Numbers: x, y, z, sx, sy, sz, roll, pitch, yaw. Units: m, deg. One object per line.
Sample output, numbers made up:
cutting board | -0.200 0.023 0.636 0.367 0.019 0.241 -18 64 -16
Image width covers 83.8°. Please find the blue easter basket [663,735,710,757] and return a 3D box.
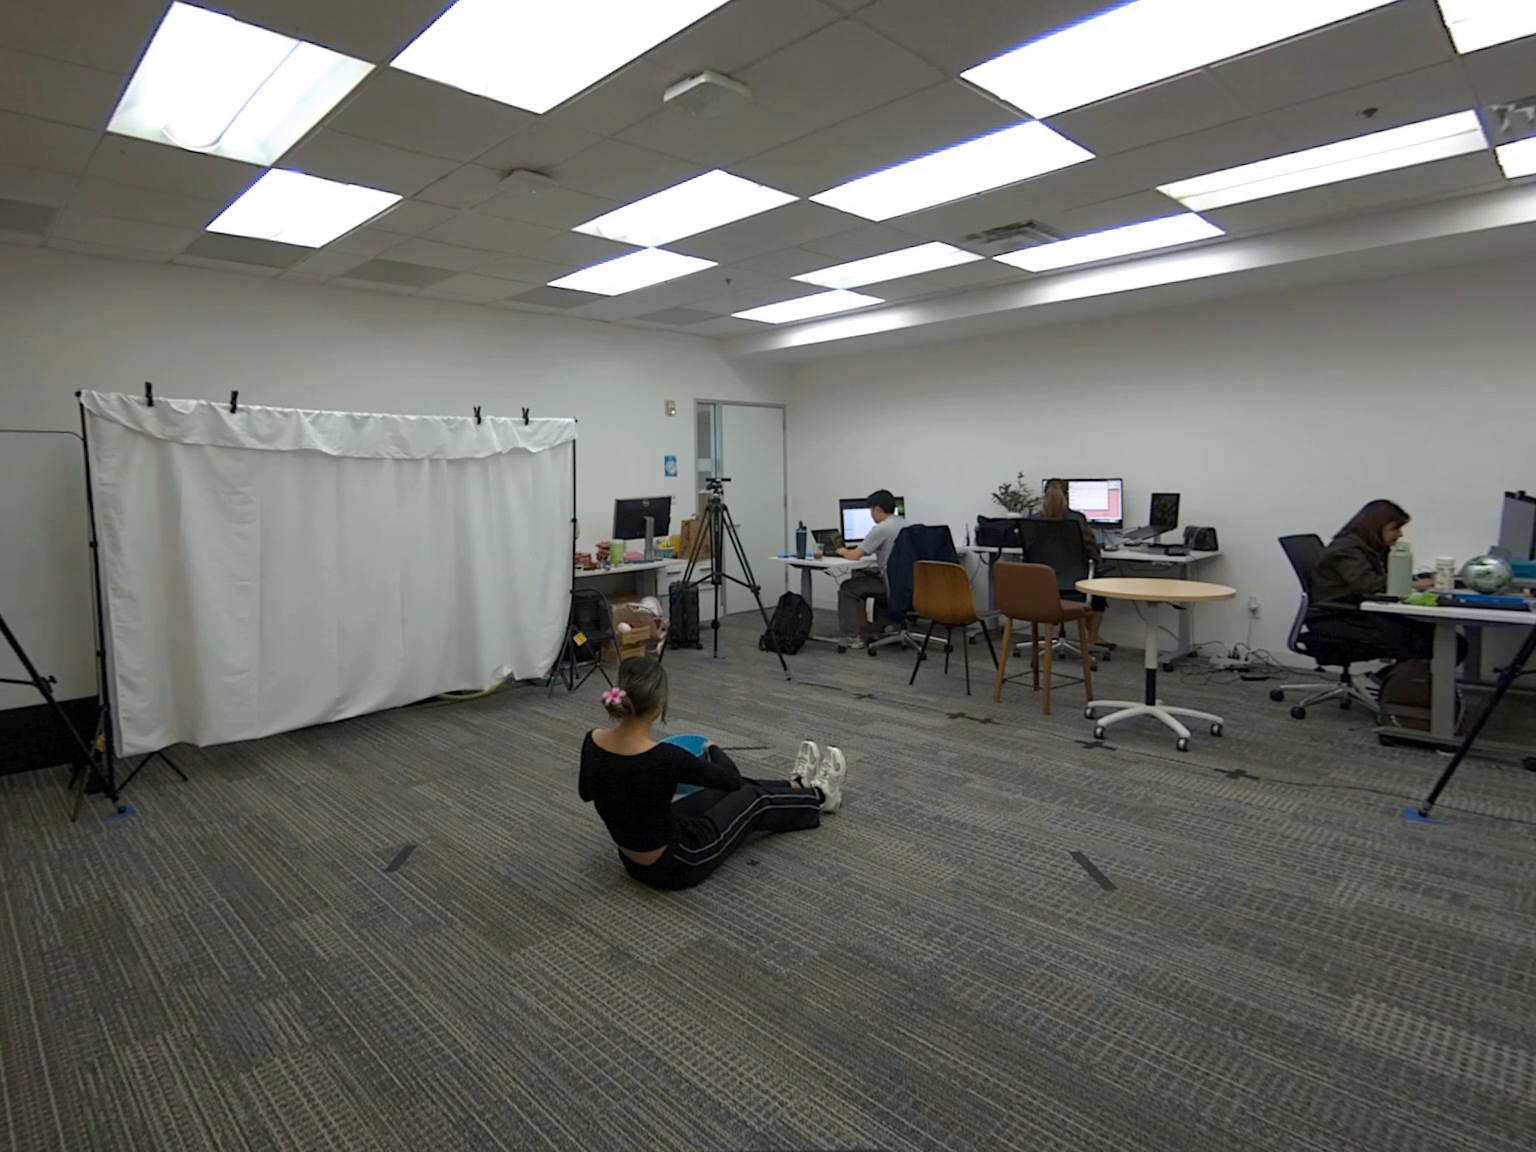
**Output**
blue easter basket | -0.326 0.738 3.311 0.243 0.154 0.246 -7 10 -1
